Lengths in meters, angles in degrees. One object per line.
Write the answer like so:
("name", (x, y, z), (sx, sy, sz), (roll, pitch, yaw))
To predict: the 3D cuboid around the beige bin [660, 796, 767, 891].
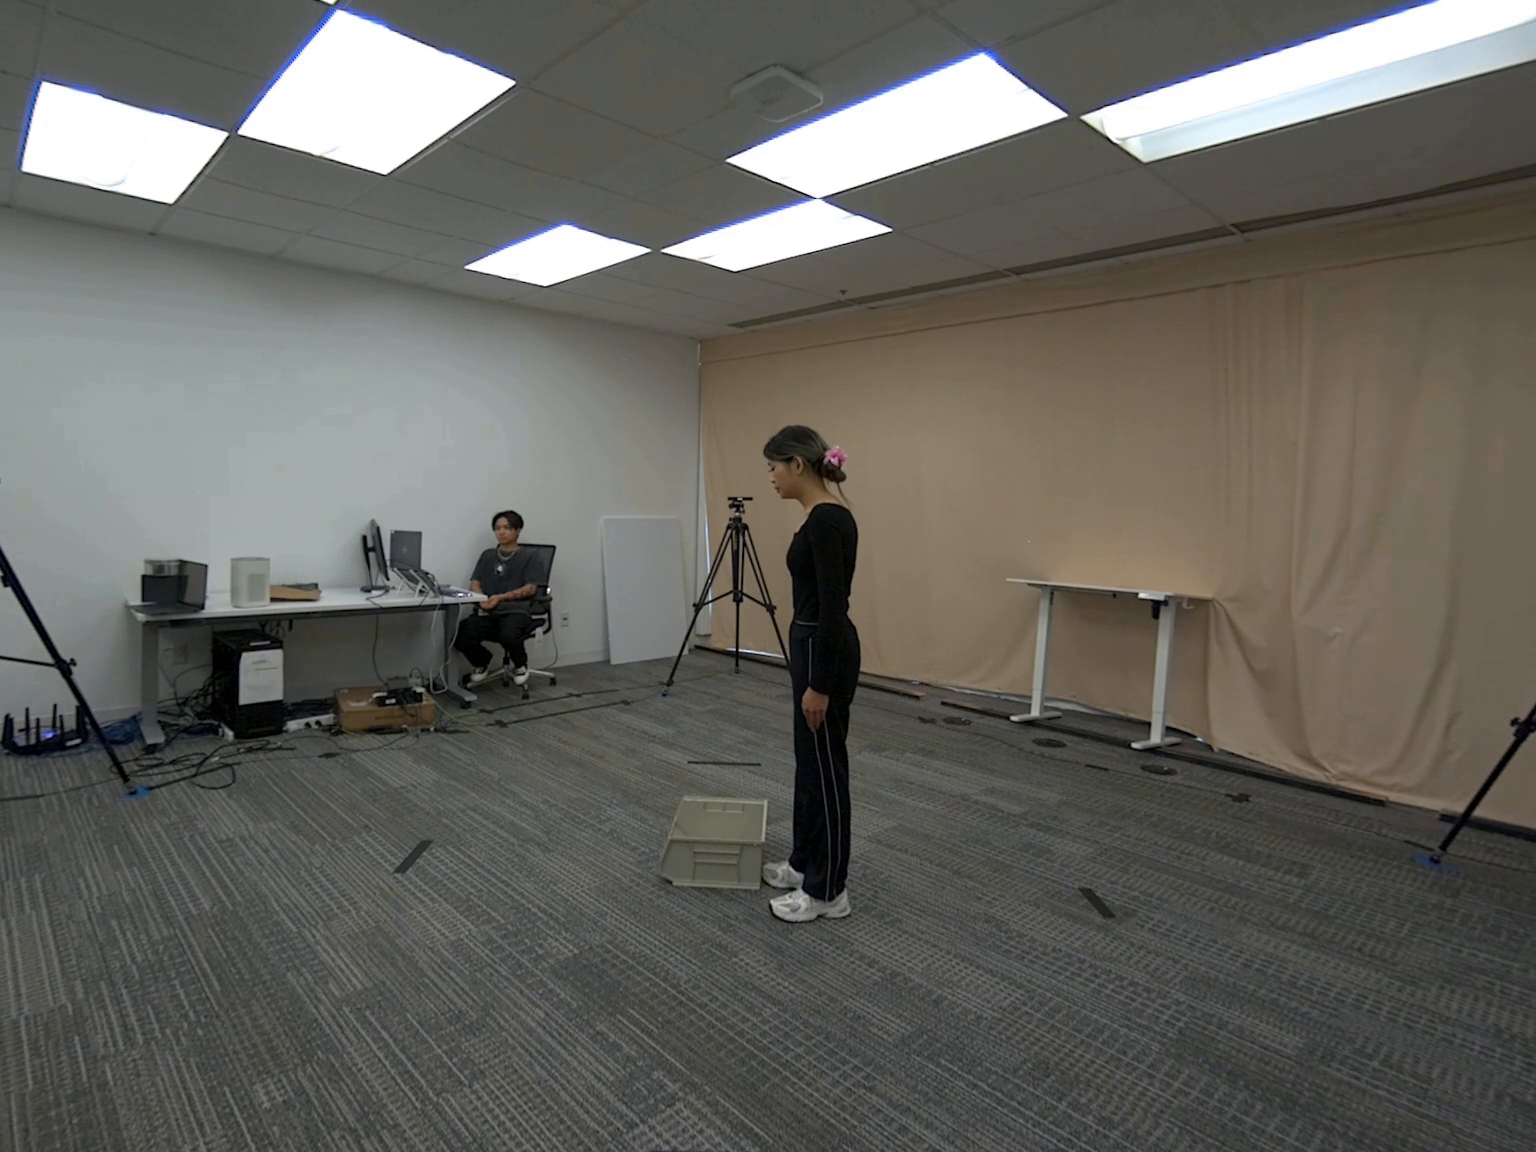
("beige bin", (-0.207, 1.011, 3.211), (0.378, 0.188, 0.422), (2, 4, 1))
